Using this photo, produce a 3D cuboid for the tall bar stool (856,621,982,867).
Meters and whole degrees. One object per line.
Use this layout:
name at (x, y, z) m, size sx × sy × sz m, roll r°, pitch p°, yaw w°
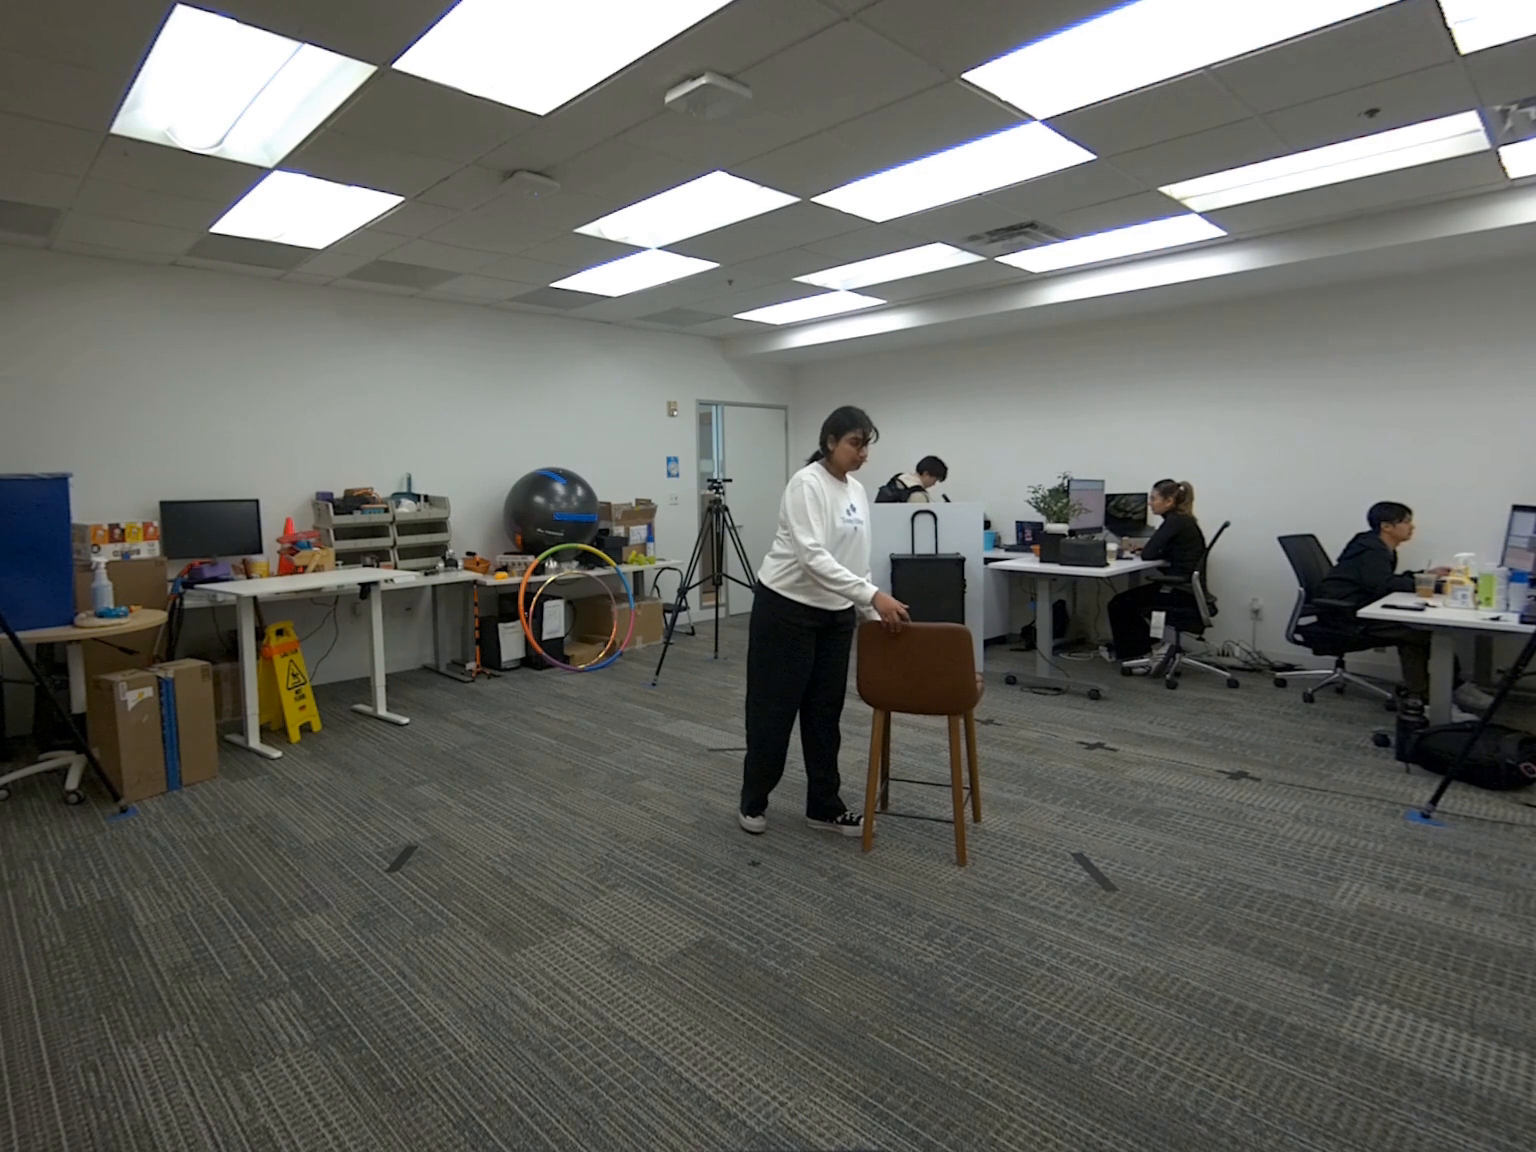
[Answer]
tall bar stool at (0.590, 0.574, 3.298) m, size 0.466 × 0.886 × 0.460 m, roll 0°, pitch 5°, yaw 21°
